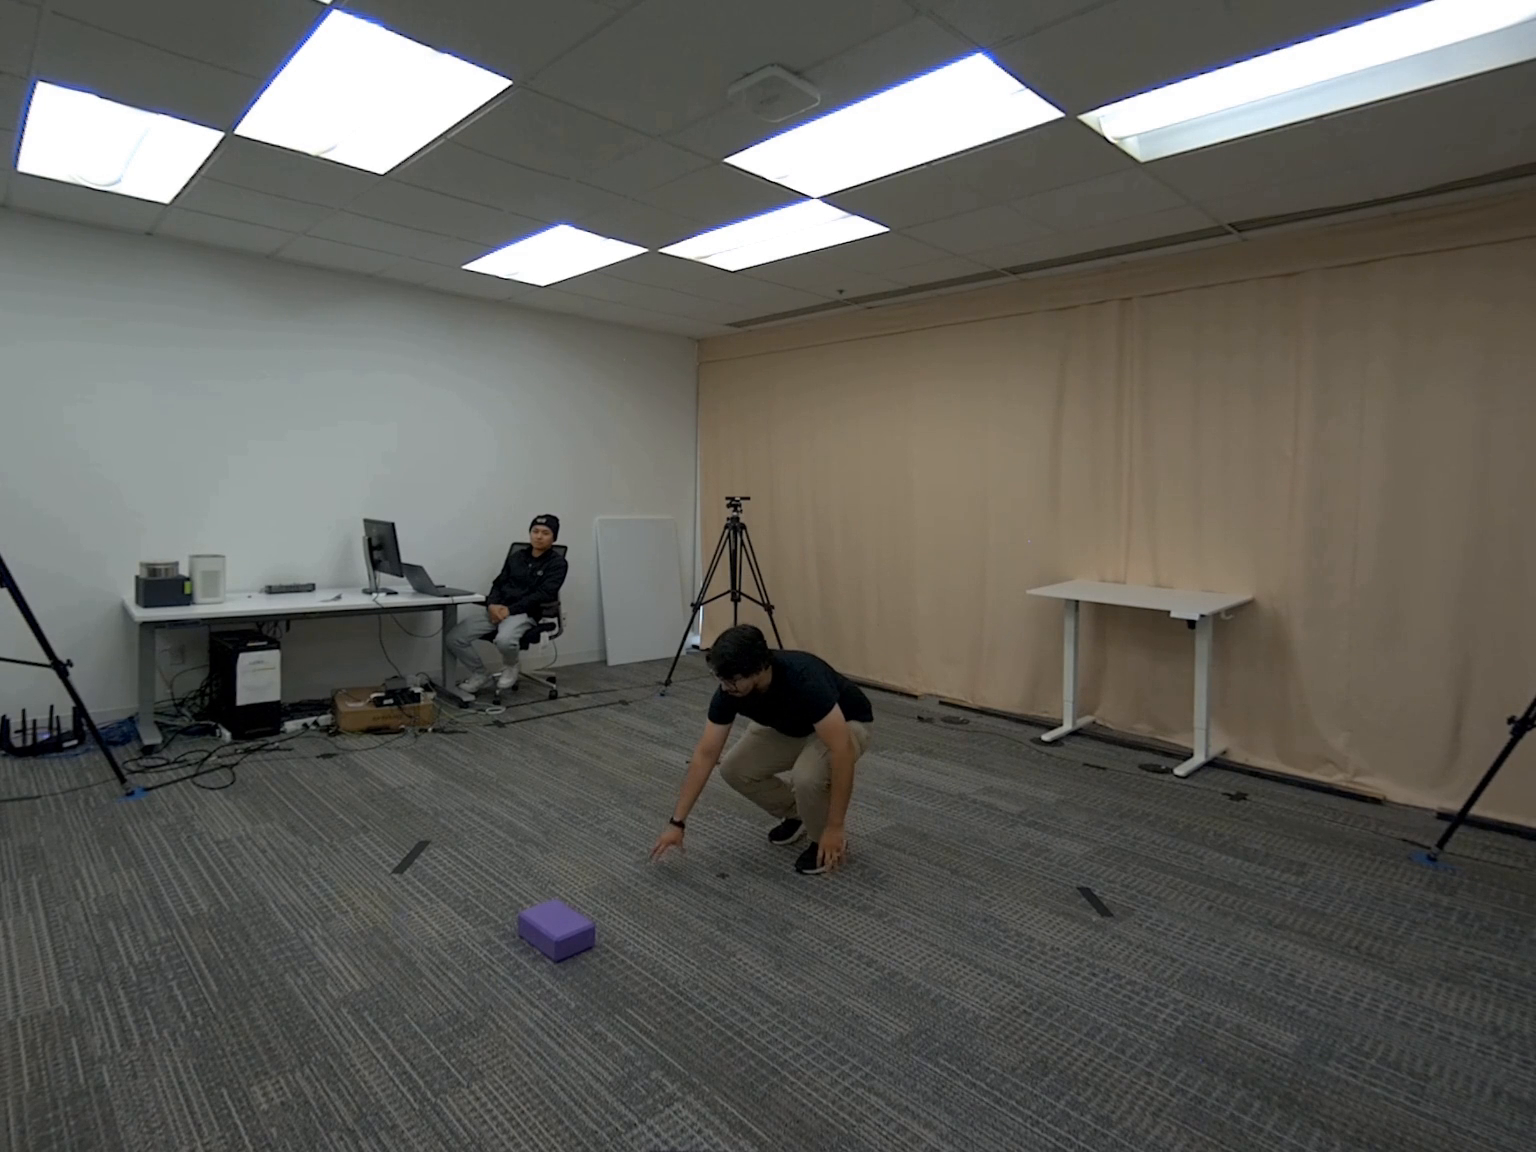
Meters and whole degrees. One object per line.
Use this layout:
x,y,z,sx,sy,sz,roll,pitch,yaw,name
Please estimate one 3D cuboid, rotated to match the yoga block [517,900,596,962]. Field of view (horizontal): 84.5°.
-0.666,1.102,2.618,0.235,0.076,0.145,6,6,45,yoga block
